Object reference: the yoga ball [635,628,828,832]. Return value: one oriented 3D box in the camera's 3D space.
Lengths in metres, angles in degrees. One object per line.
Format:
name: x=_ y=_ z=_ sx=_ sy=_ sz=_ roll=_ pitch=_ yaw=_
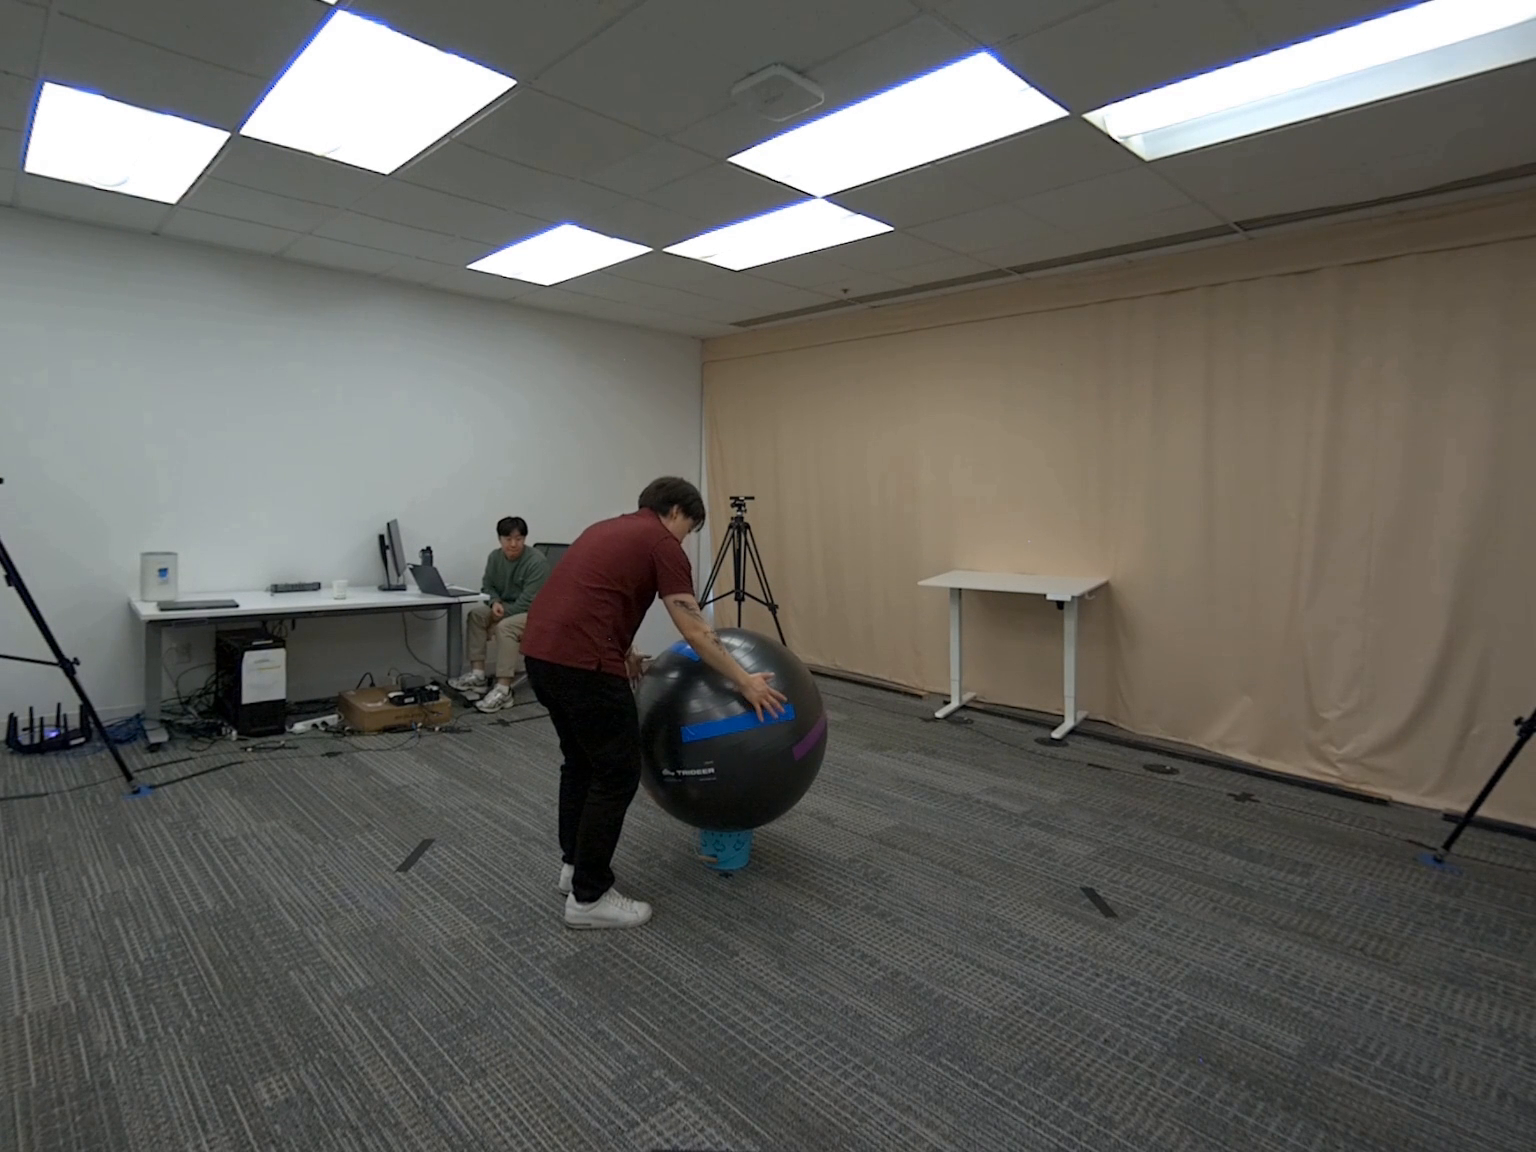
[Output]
yoga ball: x=-0.153 y=0.584 z=3.208 sx=0.757 sy=0.756 sz=0.761 roll=1 pitch=4 yaw=-1
